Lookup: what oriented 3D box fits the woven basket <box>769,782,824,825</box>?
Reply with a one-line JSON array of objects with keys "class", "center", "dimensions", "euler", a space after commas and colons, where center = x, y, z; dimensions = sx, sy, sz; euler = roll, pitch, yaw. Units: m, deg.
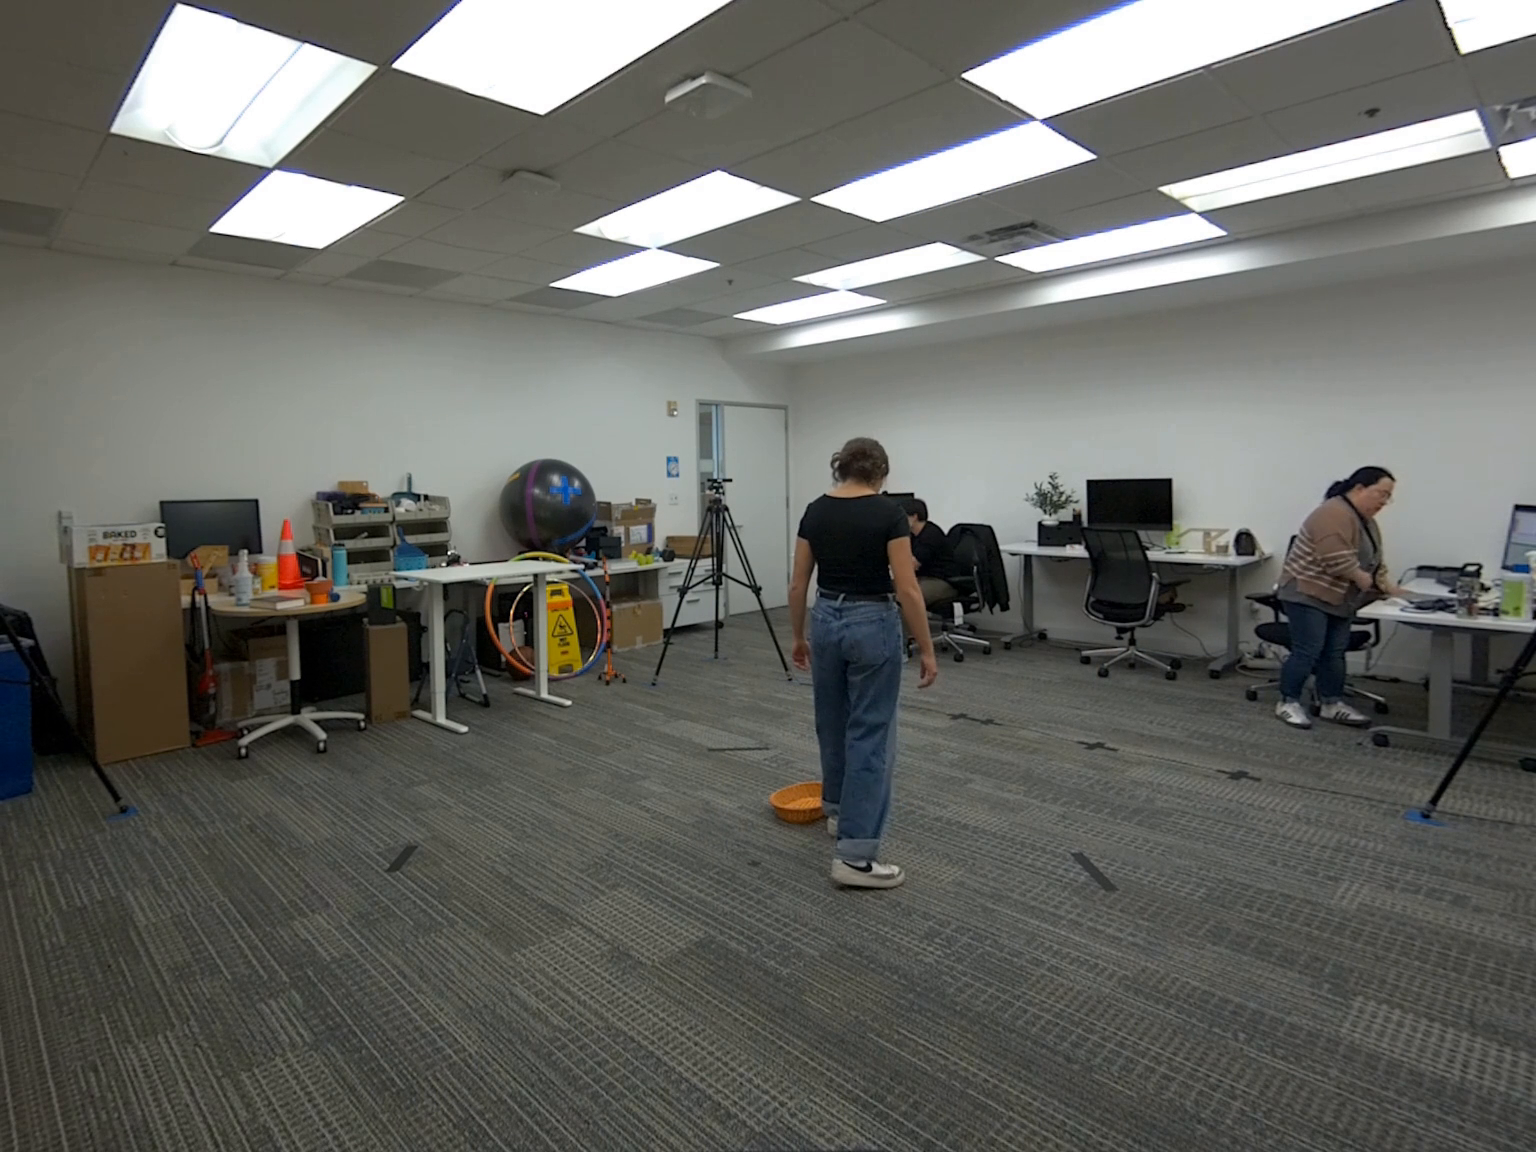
[{"class": "woven basket", "center": [0.166, 0.946, 3.583], "dimensions": [0.341, 0.073, 0.260], "euler": [-8, 8, -41]}]
